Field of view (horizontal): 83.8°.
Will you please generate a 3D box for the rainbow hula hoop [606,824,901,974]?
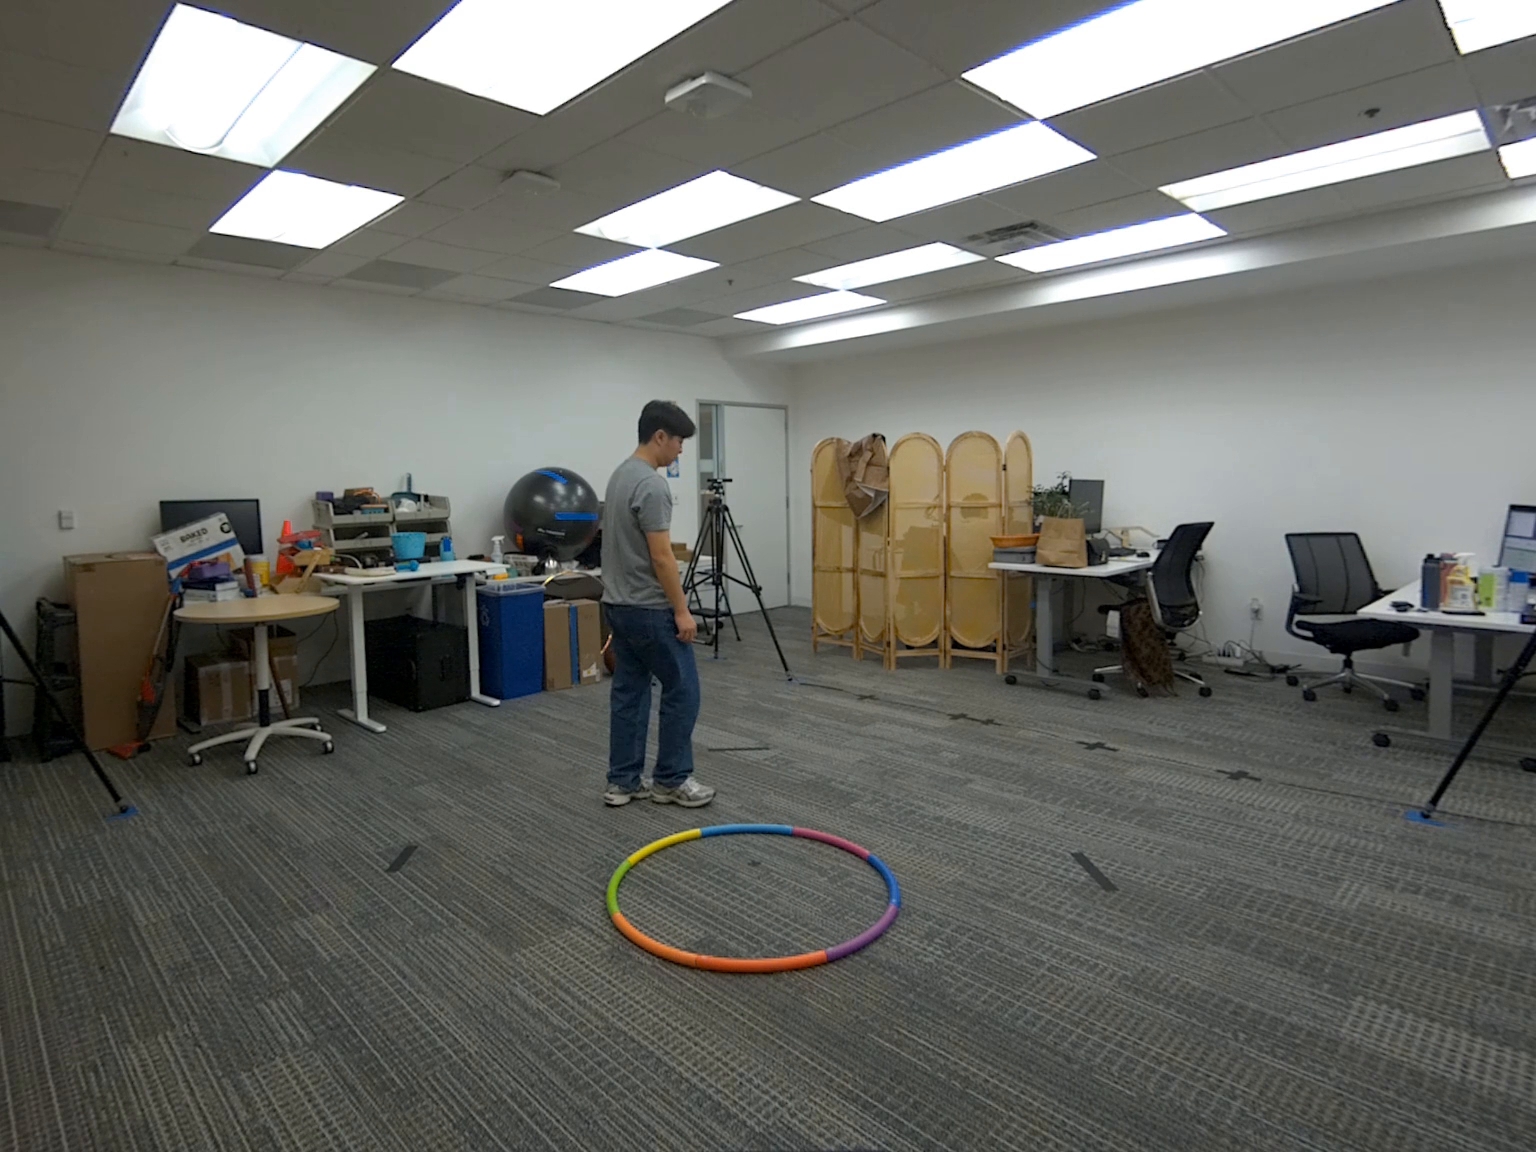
[{"bbox_3d":[-0.055,1.039,2.898,0.978,0.035,0.984,-1,7,-2],"label":"rainbow hula hoop"}]
